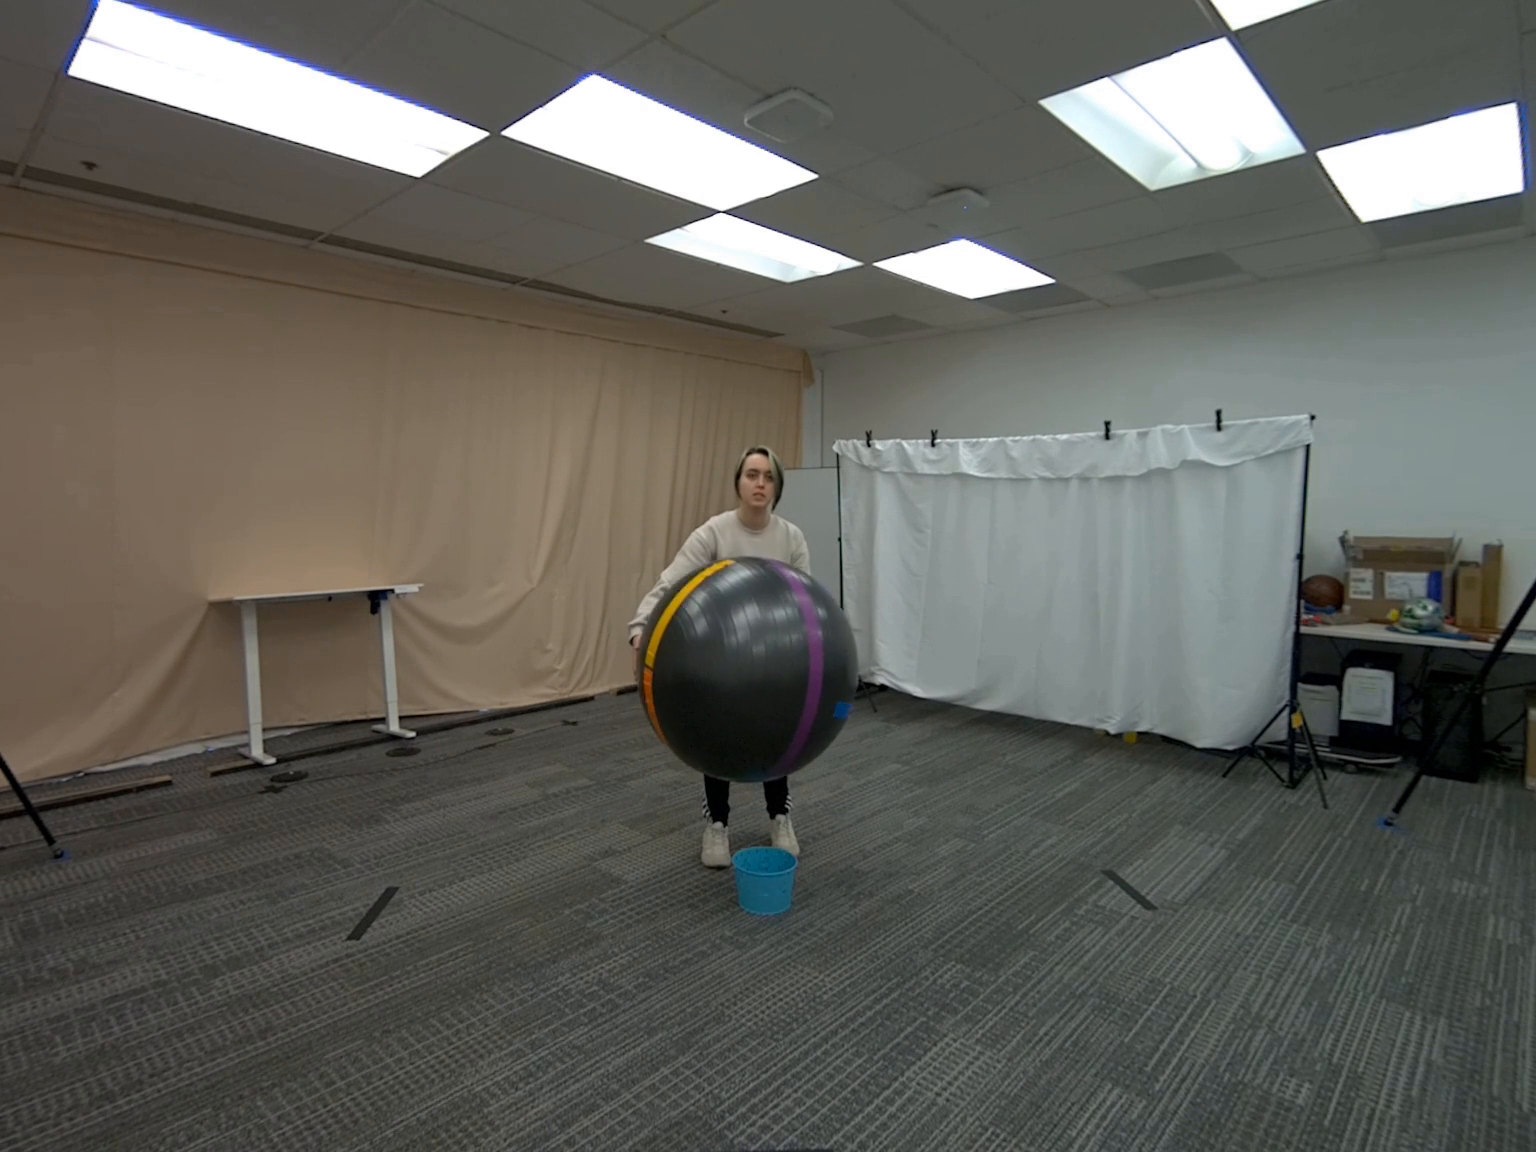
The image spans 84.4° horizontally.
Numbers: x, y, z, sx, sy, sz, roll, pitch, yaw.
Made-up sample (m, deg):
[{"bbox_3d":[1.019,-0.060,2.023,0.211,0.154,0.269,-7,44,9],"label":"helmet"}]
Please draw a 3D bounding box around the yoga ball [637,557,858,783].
[{"bbox_3d":[-0.070,0.316,2.873,0.757,0.756,0.760,0,4,-2],"label":"yoga ball"}]
